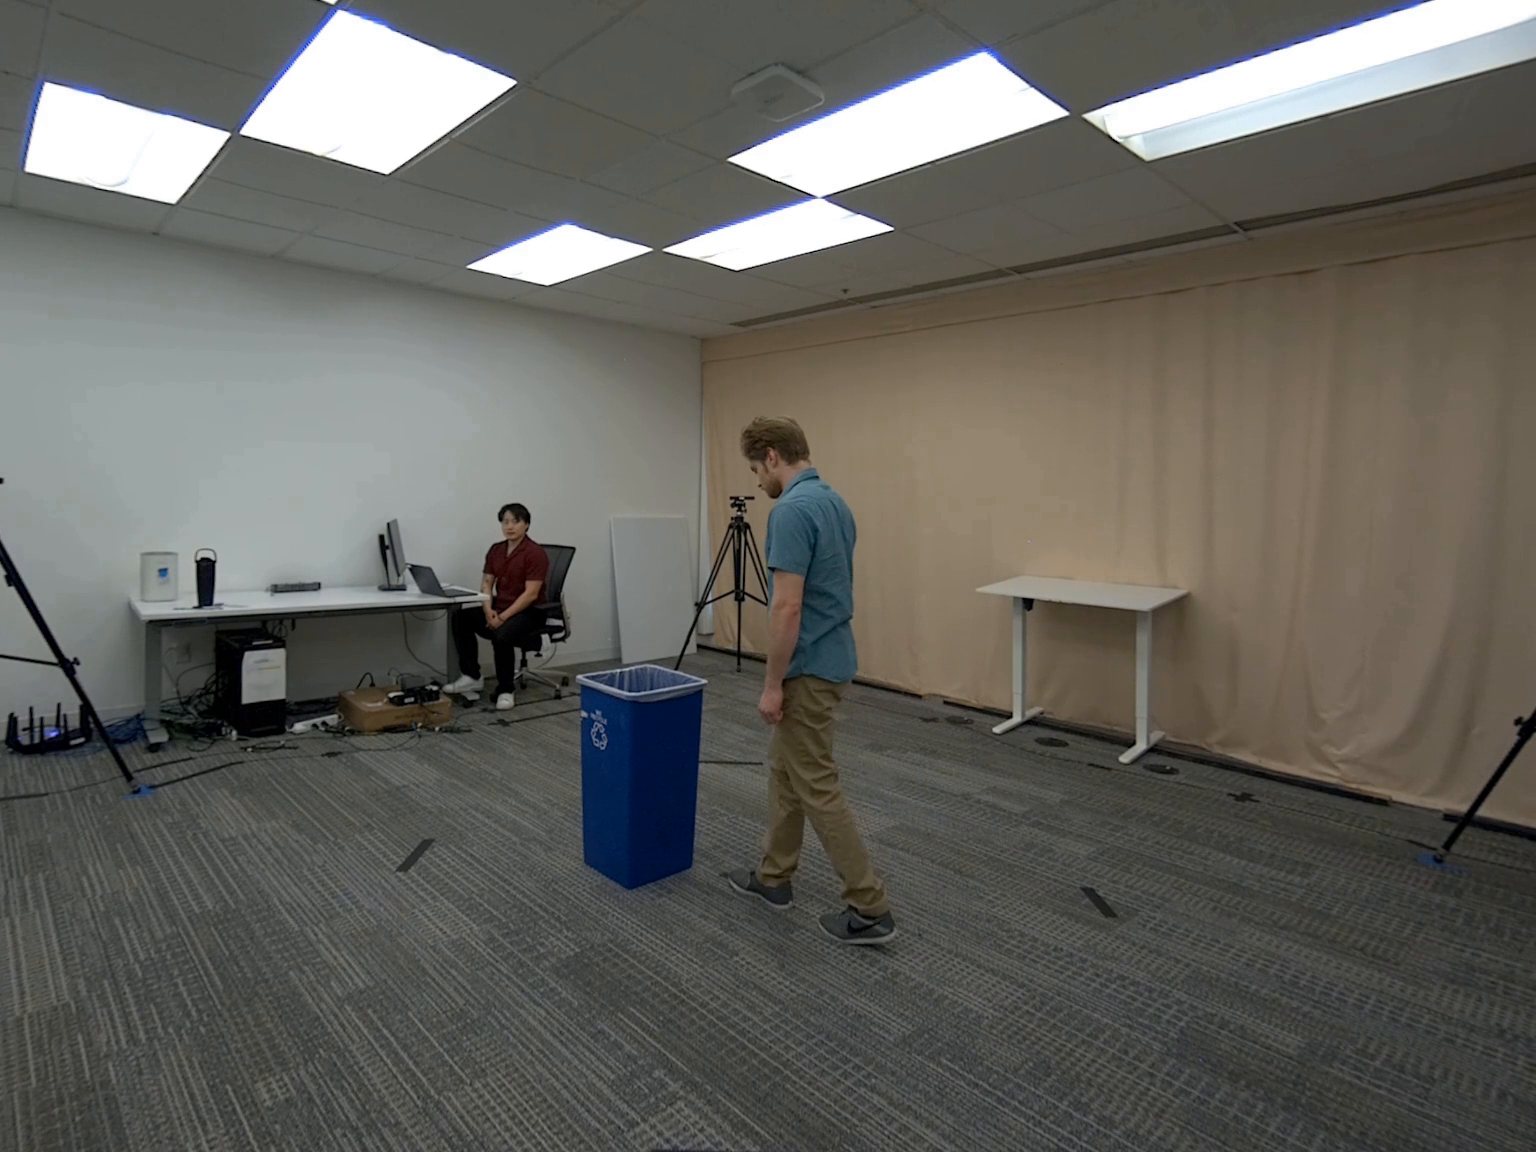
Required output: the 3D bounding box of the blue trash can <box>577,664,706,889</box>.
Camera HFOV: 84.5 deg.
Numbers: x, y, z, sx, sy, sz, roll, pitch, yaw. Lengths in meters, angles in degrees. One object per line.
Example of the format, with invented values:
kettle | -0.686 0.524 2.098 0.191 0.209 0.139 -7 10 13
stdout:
blue trash can | -0.488 0.737 3.162 0.388 0.711 0.366 5 7 45
